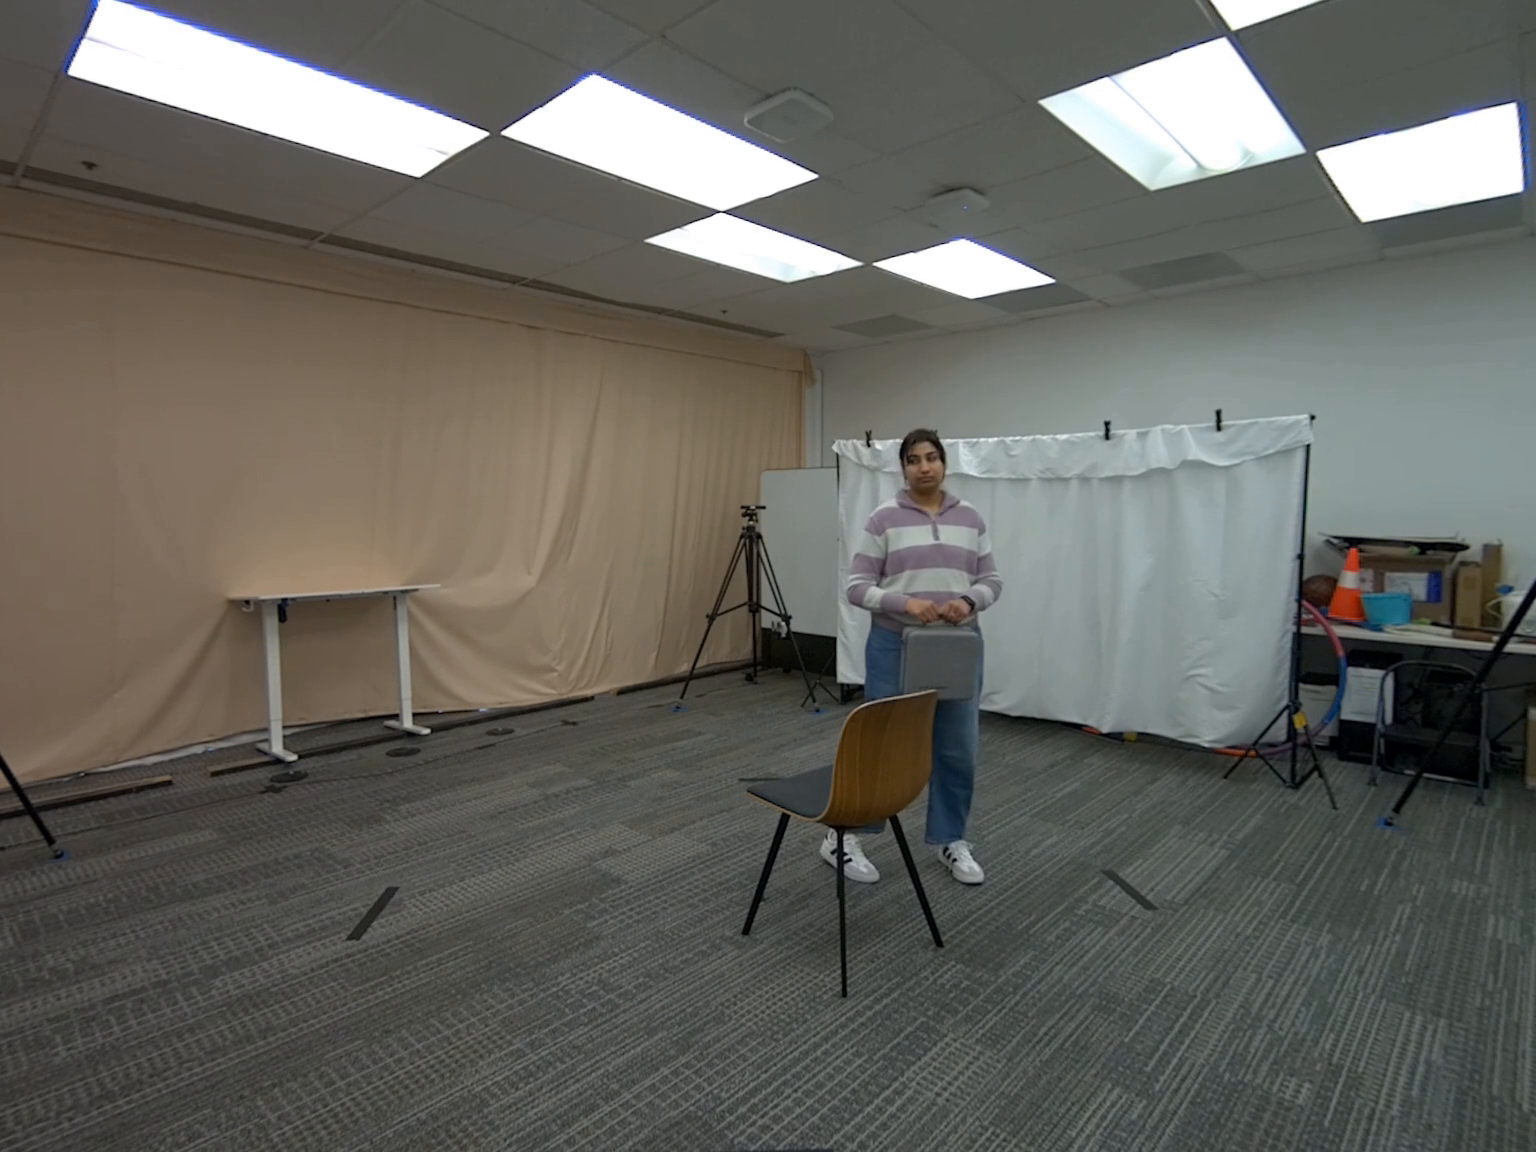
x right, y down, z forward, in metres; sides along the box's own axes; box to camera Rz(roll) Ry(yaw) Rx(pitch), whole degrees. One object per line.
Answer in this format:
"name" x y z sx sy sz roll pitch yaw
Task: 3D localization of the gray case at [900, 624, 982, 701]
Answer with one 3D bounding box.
"gray case" 0.593 0.299 2.955 0.256 0.259 0.105 3 9 -3
